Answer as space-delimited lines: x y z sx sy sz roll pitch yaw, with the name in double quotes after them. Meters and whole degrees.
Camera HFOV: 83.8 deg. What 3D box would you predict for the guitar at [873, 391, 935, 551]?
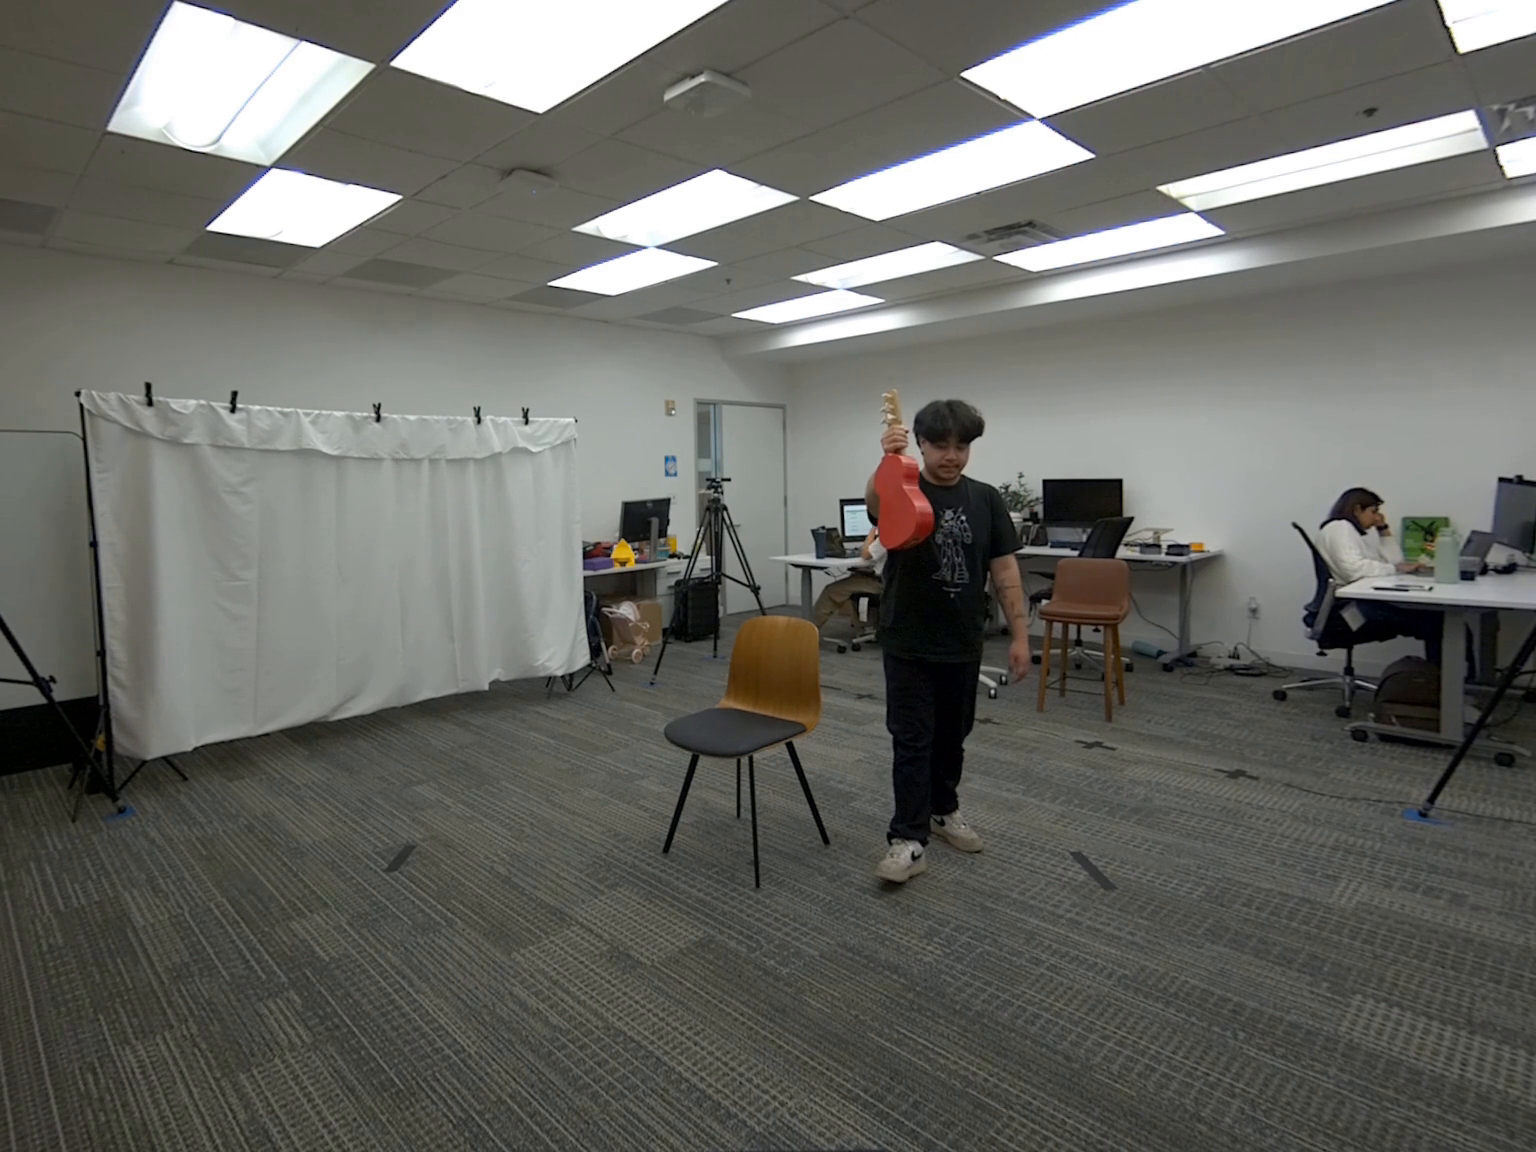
0.372 -0.317 2.534 0.069 0.511 0.192 3 -30 -22 "guitar"
